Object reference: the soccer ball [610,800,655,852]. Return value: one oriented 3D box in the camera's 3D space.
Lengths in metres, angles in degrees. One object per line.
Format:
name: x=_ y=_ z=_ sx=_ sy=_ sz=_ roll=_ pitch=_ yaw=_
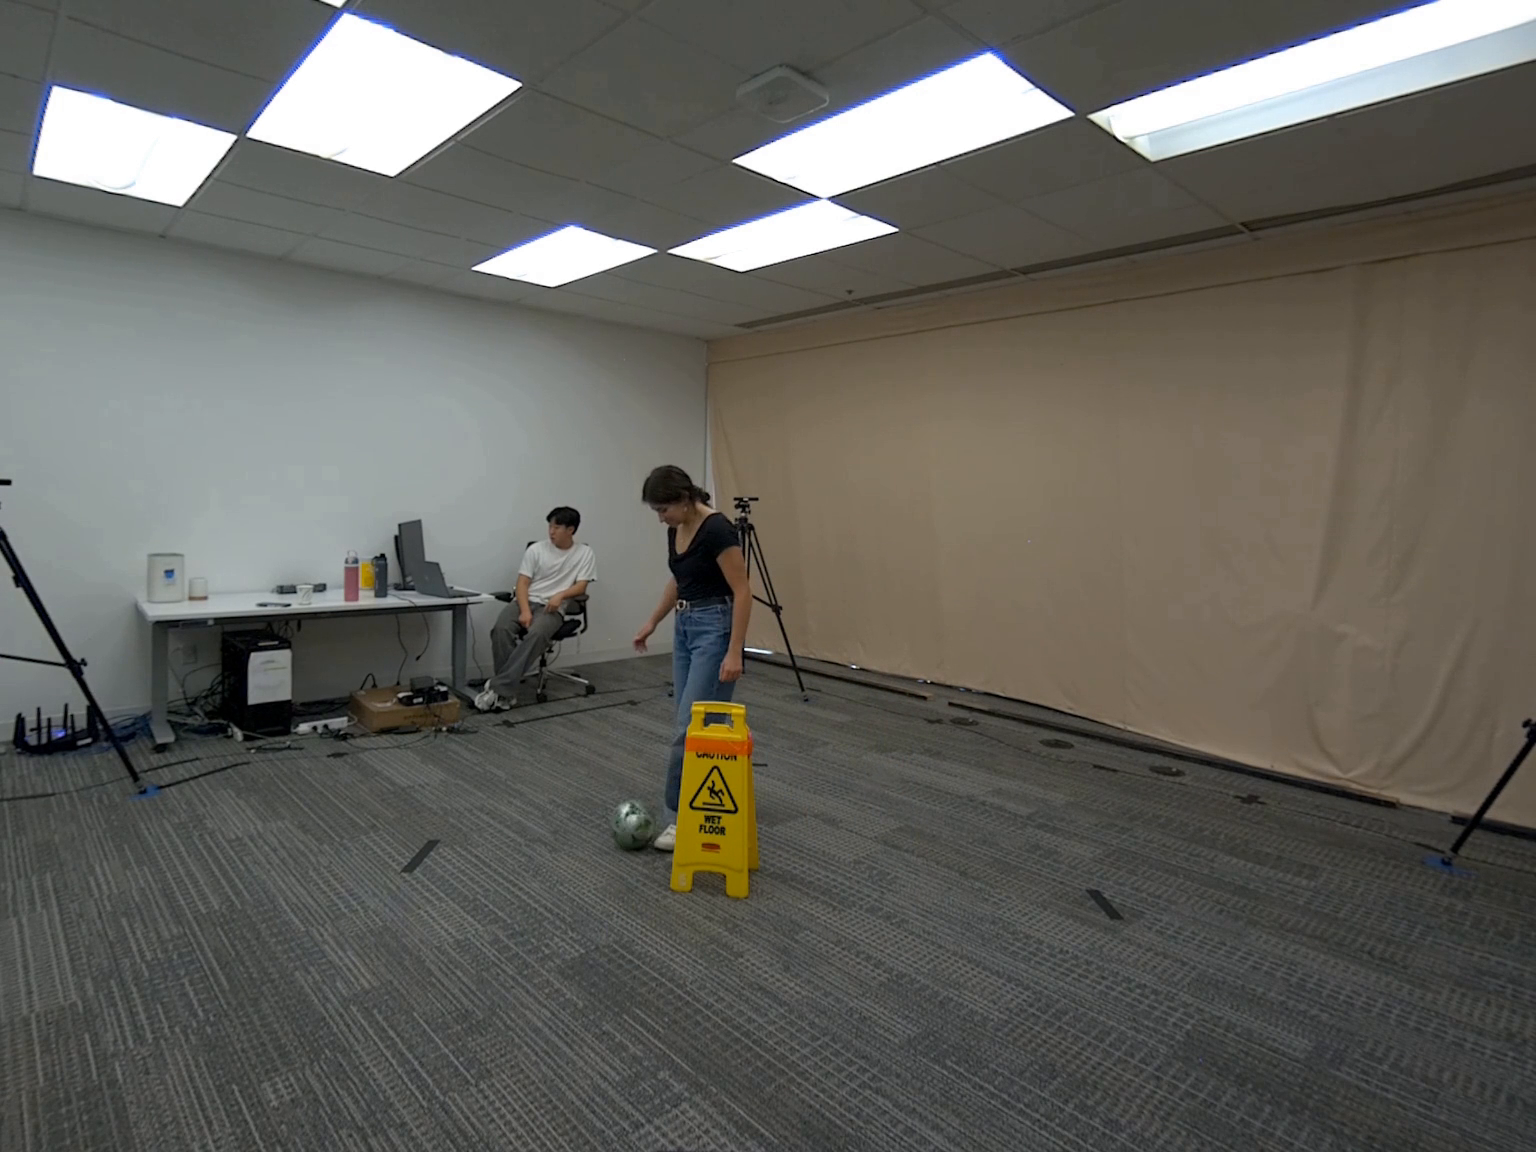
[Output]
soccer ball: x=-0.539 y=0.983 z=3.333 sx=0.187 sy=0.187 sz=0.188 roll=1 pitch=4 yaw=-1
